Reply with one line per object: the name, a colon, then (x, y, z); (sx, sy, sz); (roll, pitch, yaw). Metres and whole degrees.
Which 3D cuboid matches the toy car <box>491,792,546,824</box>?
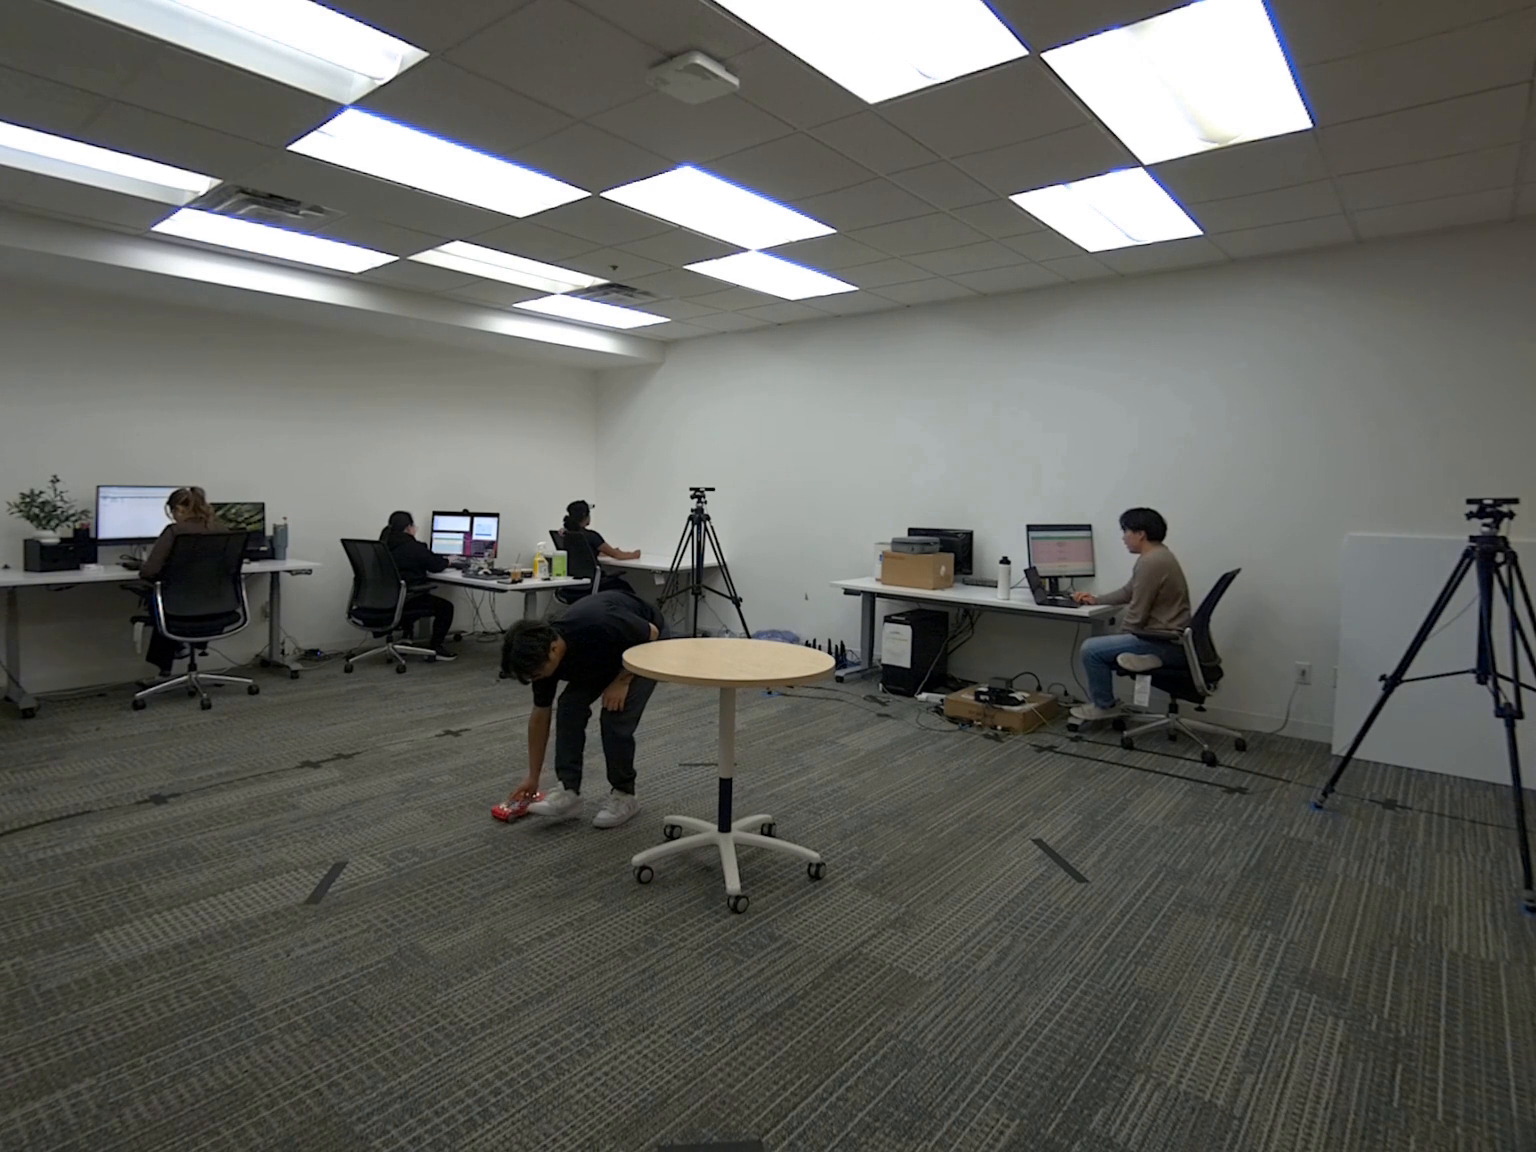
toy car: (-1.068, 0.977, 3.612); (0.134, 0.082, 0.250); (3, 16, 36)
